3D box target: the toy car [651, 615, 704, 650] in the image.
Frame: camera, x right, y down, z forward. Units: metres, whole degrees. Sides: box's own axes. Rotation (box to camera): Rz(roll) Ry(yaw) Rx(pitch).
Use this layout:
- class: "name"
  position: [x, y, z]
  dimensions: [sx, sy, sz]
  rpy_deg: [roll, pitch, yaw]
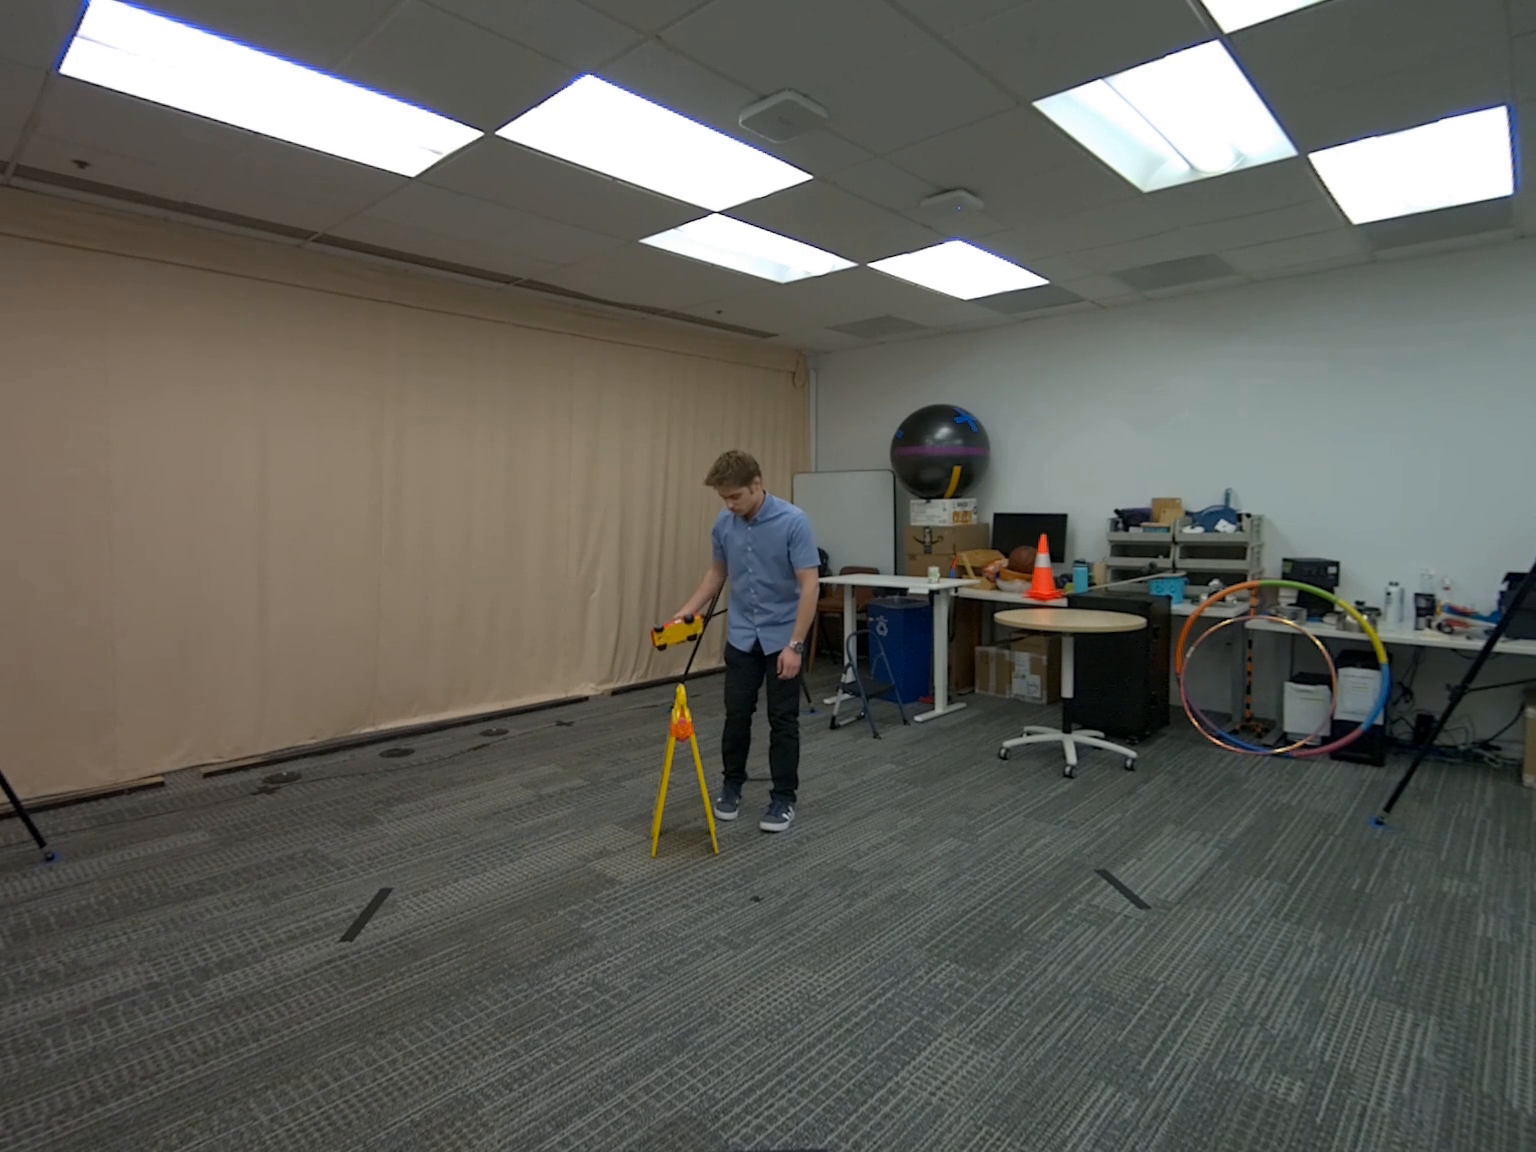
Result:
- class: "toy car"
  position: [-0.396, 0.248, 3.731]
  dimensions: [0.249, 0.128, 0.086]
  rpy_deg: [-21, 24, -30]
